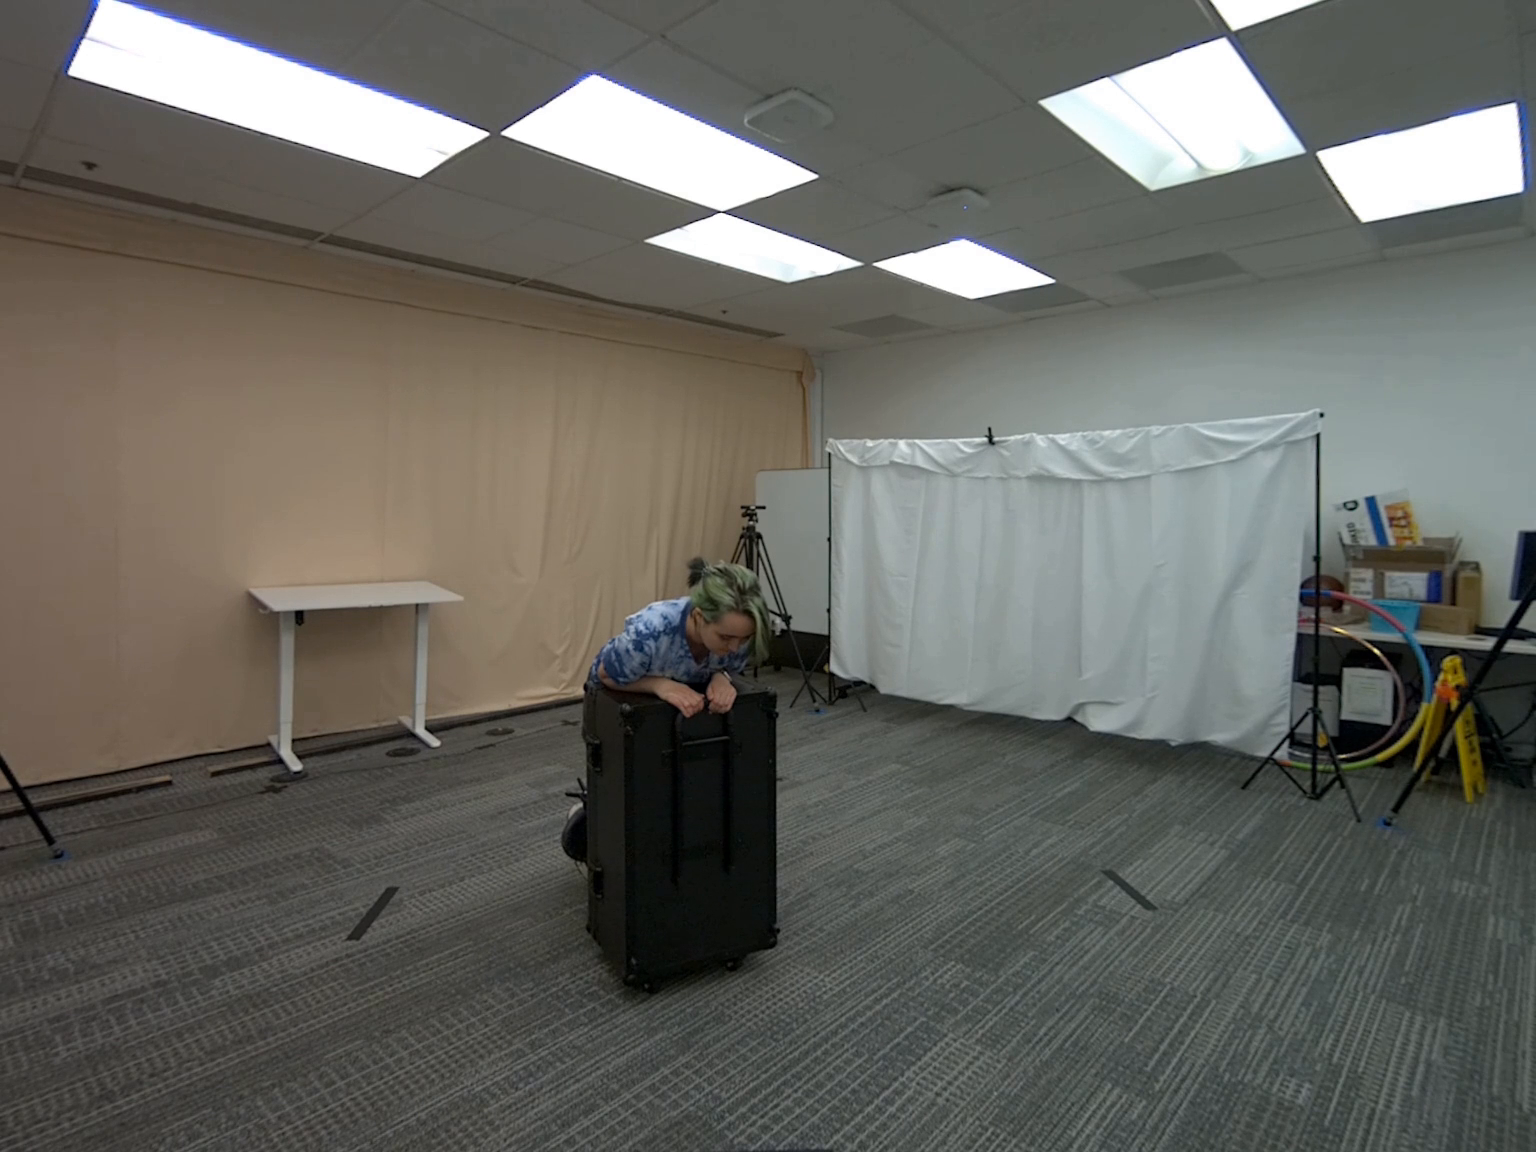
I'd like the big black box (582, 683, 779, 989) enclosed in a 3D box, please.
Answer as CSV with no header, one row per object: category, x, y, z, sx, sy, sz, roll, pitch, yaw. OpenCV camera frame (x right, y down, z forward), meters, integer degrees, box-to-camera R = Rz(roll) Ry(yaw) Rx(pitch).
big black box,-0.258,0.707,2.541,0.508,0.859,0.407,-2,4,-28
